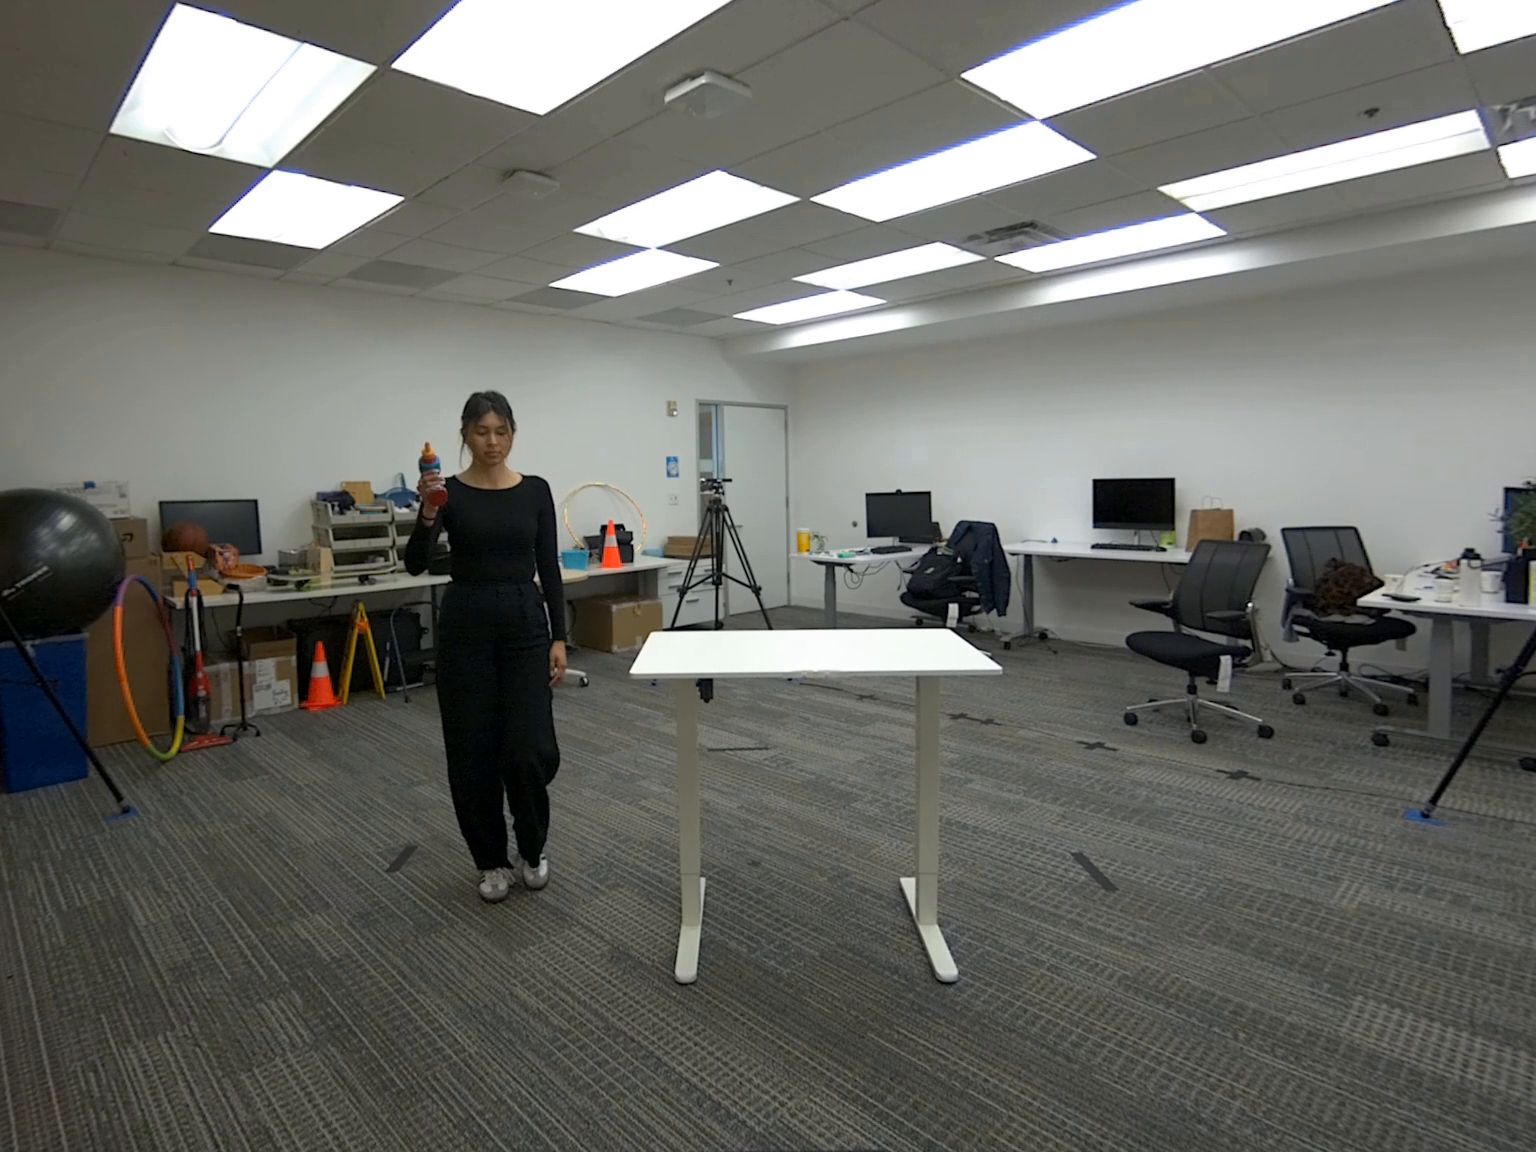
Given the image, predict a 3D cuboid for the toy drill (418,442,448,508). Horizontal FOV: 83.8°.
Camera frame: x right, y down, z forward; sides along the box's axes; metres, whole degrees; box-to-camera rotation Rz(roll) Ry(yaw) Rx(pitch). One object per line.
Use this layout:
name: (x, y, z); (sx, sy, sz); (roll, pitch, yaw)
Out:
toy drill: (-0.984, -0.301, 2.475); (0.060, 0.151, 0.167); (-9, -34, -21)
